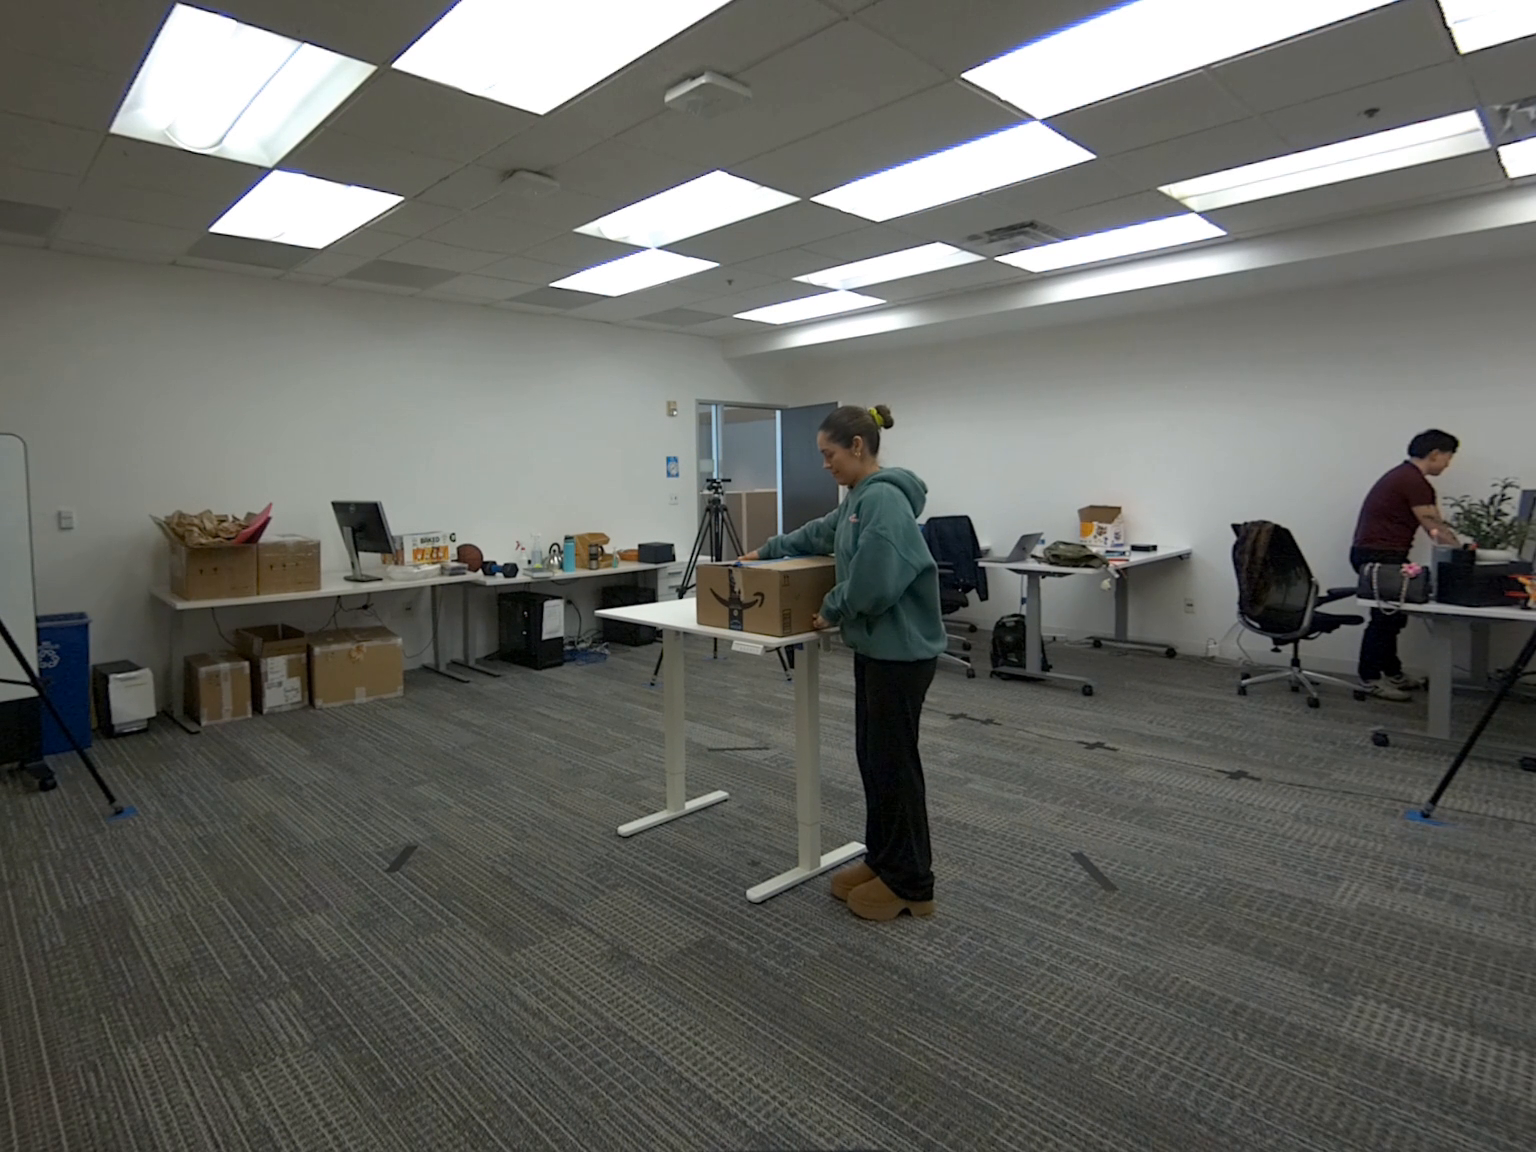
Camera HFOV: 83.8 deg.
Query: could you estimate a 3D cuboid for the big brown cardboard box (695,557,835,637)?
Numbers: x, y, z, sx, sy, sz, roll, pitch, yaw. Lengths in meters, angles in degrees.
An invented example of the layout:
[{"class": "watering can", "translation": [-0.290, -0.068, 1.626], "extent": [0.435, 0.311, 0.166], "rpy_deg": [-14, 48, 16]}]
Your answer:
[{"class": "big brown cardboard box", "translation": [0.092, 0.055, 3.076], "extent": [0.574, 0.232, 0.430], "rpy_deg": [-8, 8, -44]}]
